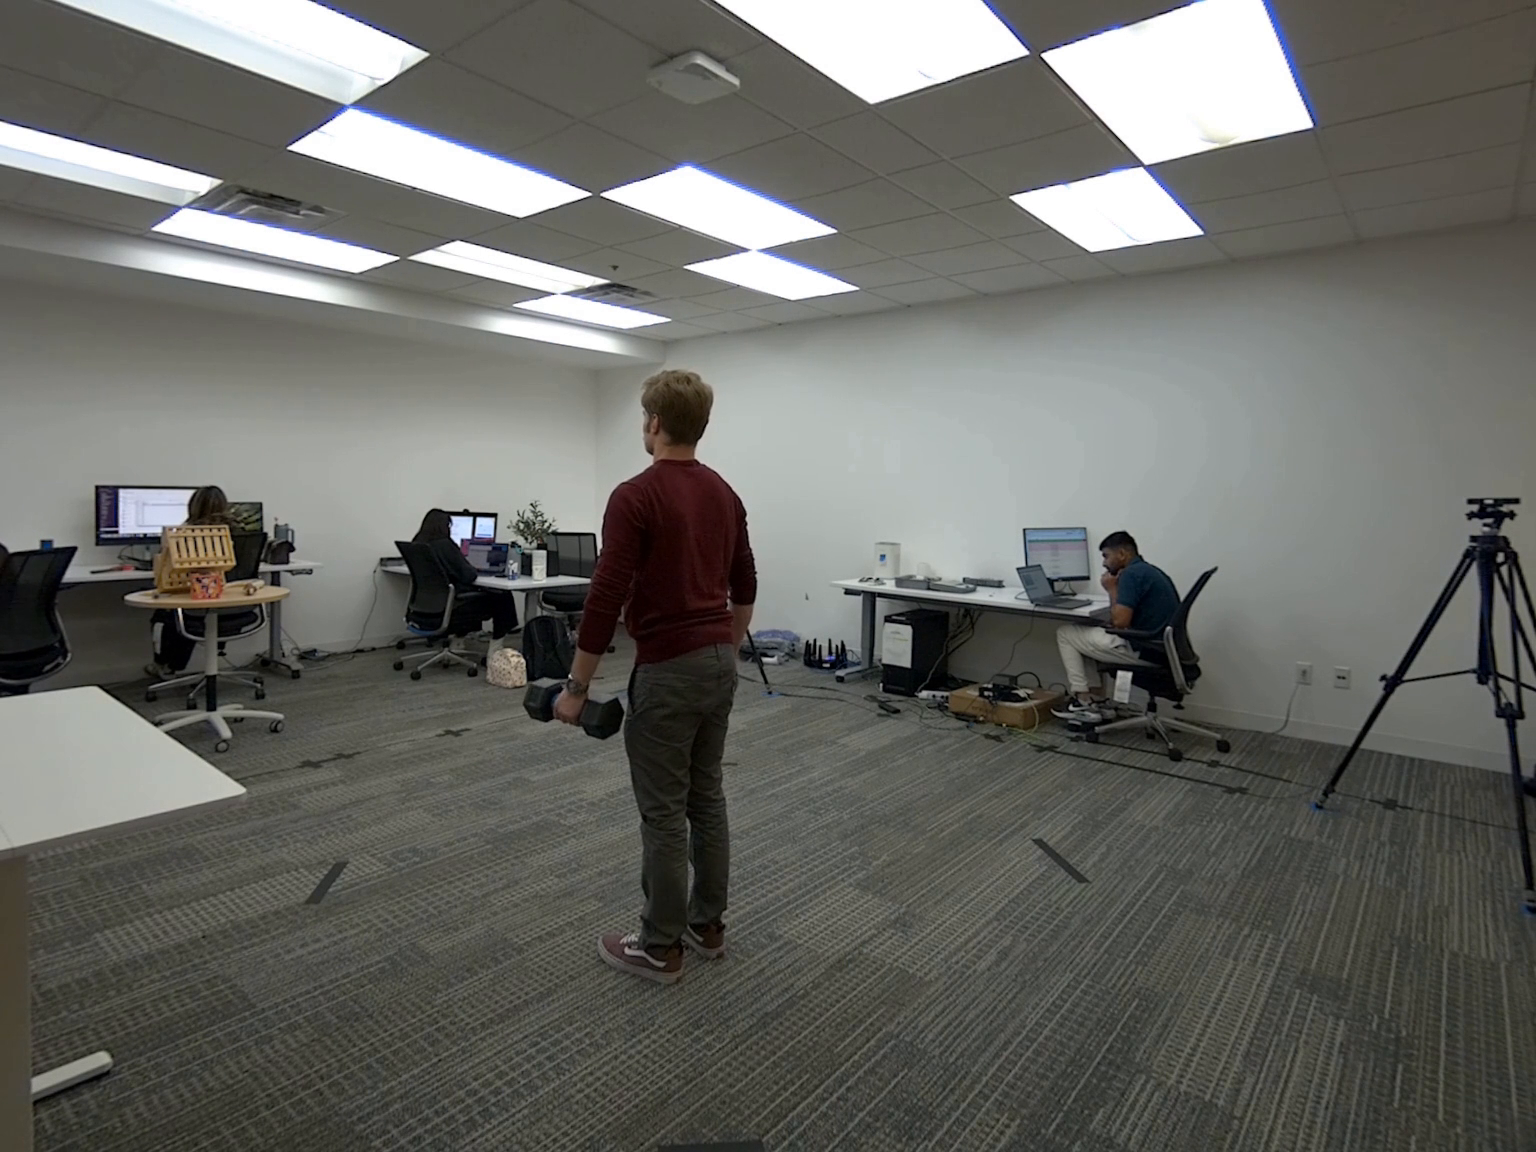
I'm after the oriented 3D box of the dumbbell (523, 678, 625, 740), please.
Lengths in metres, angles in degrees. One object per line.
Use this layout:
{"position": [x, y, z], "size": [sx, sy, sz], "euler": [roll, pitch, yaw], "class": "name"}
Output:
{"position": [-0.568, 0.358, 2.415], "size": [0.303, 0.124, 0.104], "euler": [9, -16, 30], "class": "dumbbell"}
